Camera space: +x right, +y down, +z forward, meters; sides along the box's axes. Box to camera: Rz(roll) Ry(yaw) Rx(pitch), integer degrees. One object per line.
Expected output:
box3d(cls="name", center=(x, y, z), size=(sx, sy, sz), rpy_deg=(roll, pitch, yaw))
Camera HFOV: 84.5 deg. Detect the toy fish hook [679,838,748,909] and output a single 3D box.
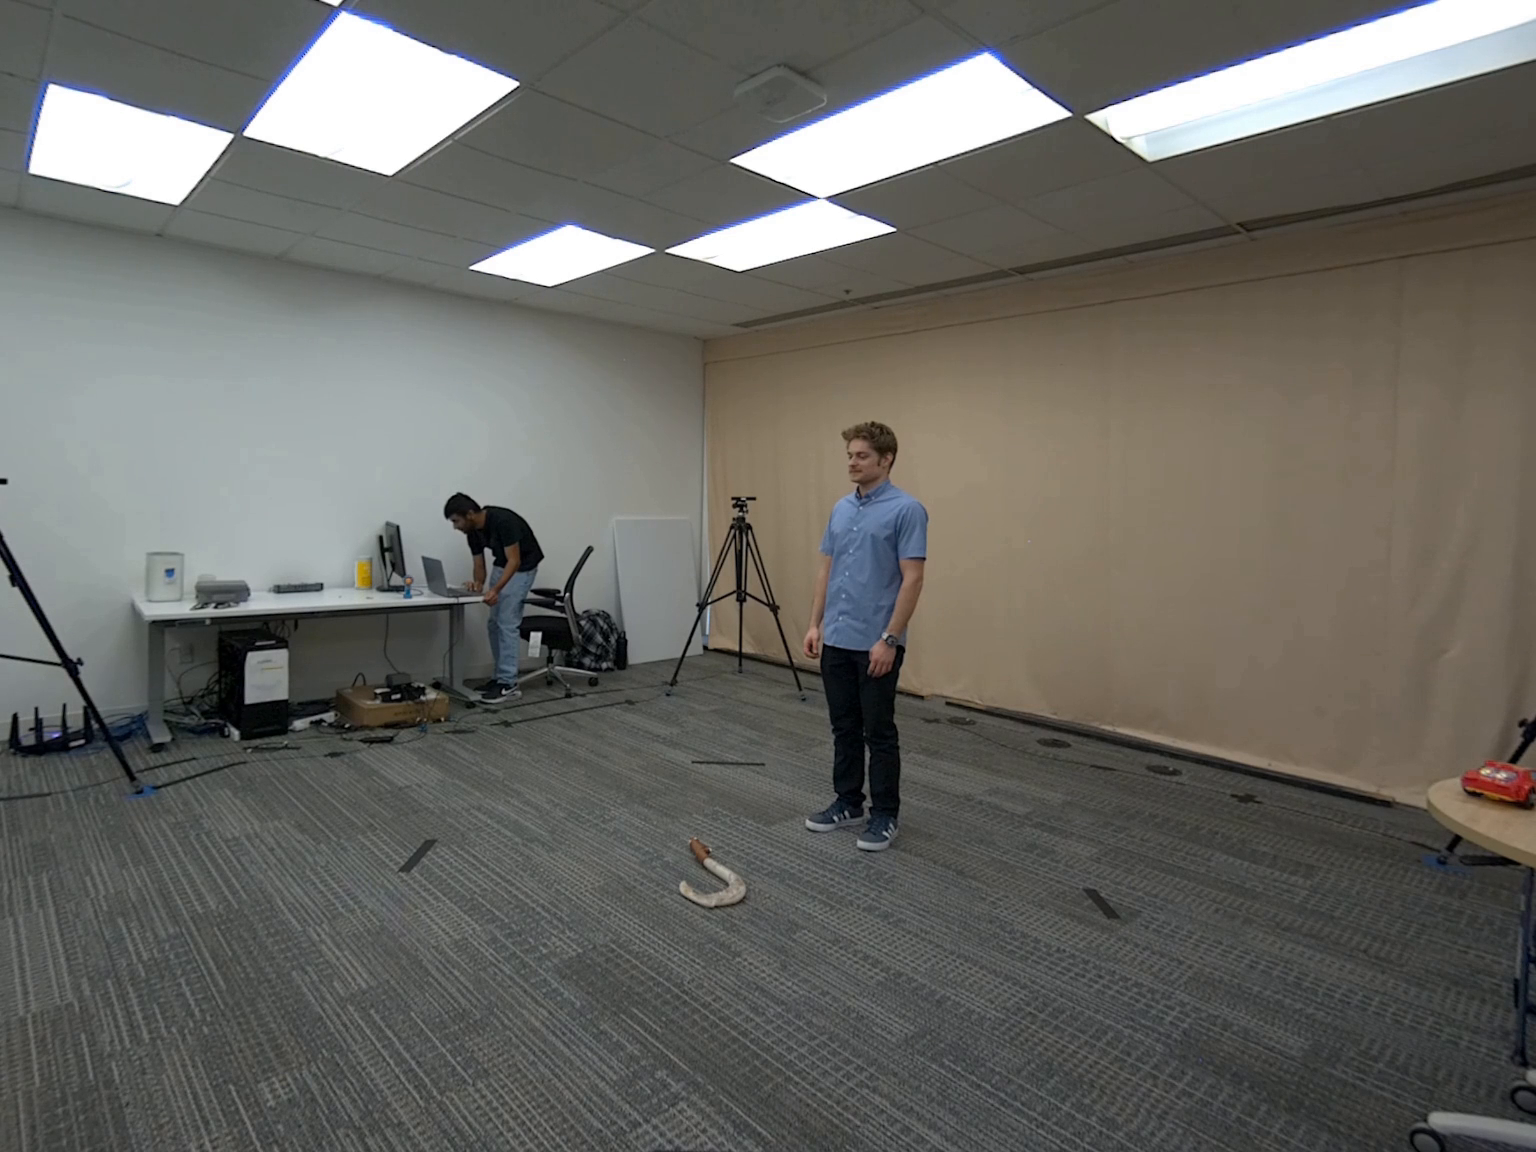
box3d(cls="toy fish hook", center=(-0.252, 1.083, 3.093), size=(0.221, 0.048, 0.516), rpy_deg=(1, 5, -22))
